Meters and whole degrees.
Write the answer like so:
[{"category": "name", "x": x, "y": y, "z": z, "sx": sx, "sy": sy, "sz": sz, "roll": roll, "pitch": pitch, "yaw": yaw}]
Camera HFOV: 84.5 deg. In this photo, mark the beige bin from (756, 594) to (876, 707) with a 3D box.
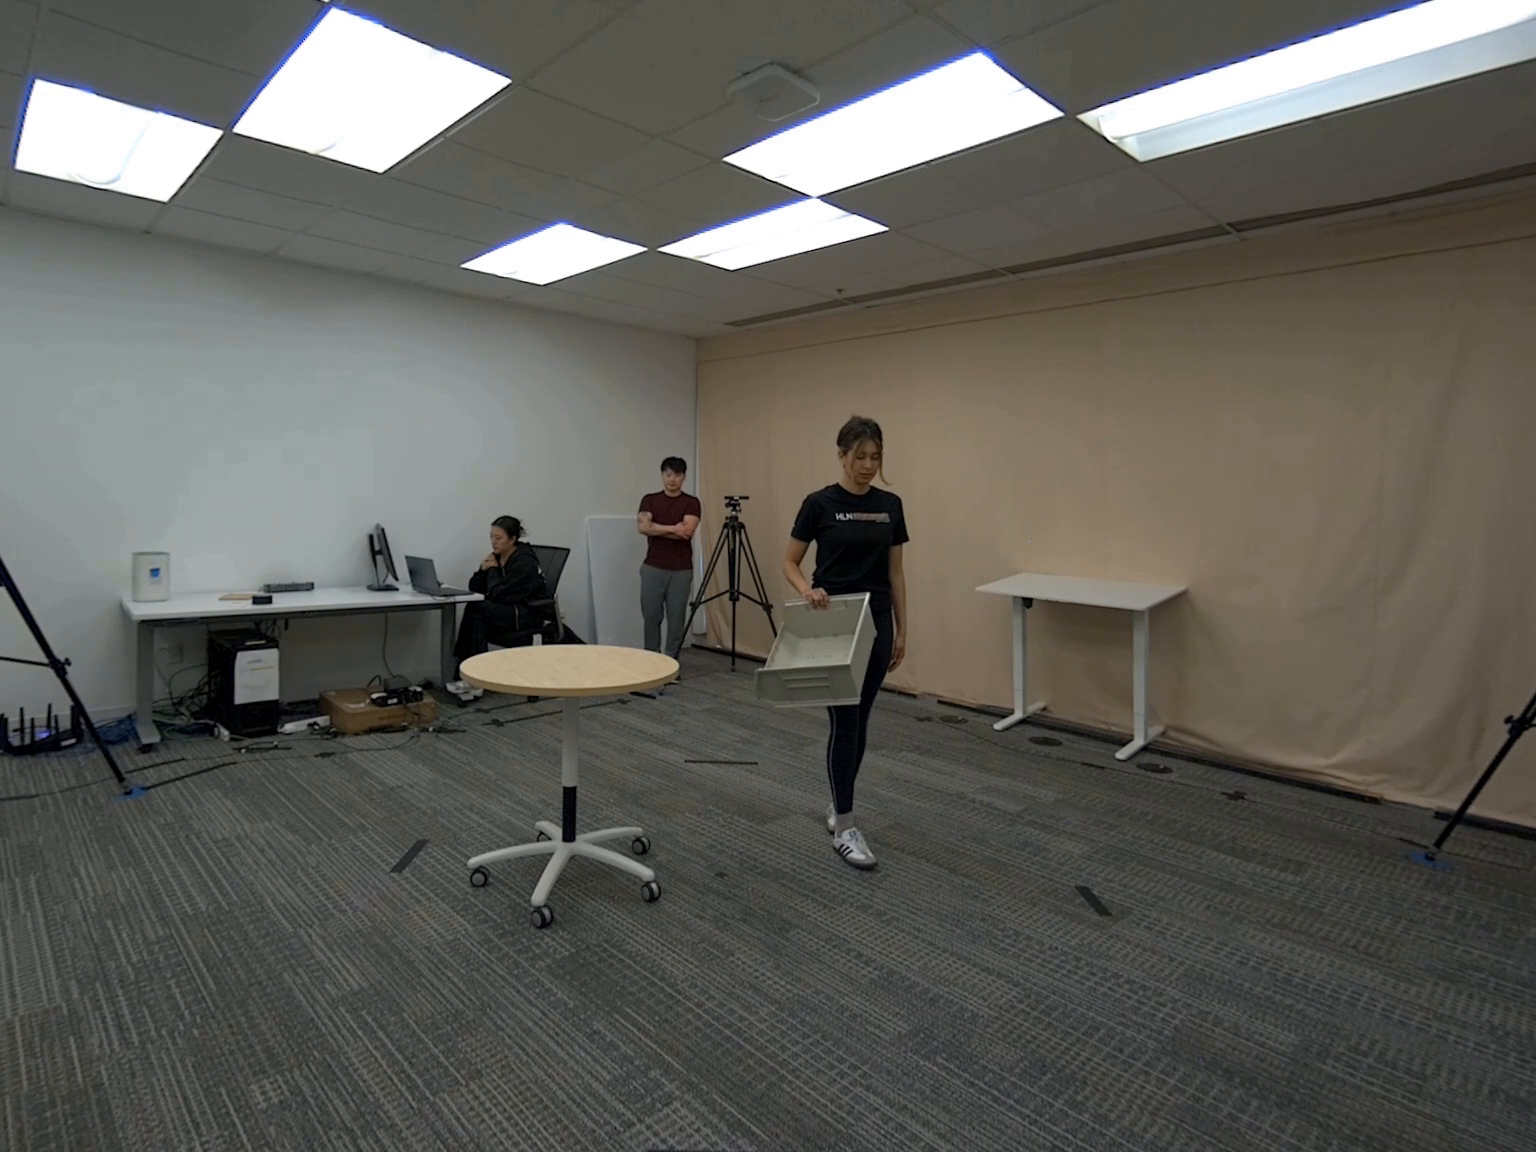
[{"category": "beige bin", "x": 0.171, "y": 0.276, "z": 3.068, "sx": 0.383, "sy": 0.185, "sz": 0.425, "roll": -8, "pitch": 29, "yaw": 23}]
